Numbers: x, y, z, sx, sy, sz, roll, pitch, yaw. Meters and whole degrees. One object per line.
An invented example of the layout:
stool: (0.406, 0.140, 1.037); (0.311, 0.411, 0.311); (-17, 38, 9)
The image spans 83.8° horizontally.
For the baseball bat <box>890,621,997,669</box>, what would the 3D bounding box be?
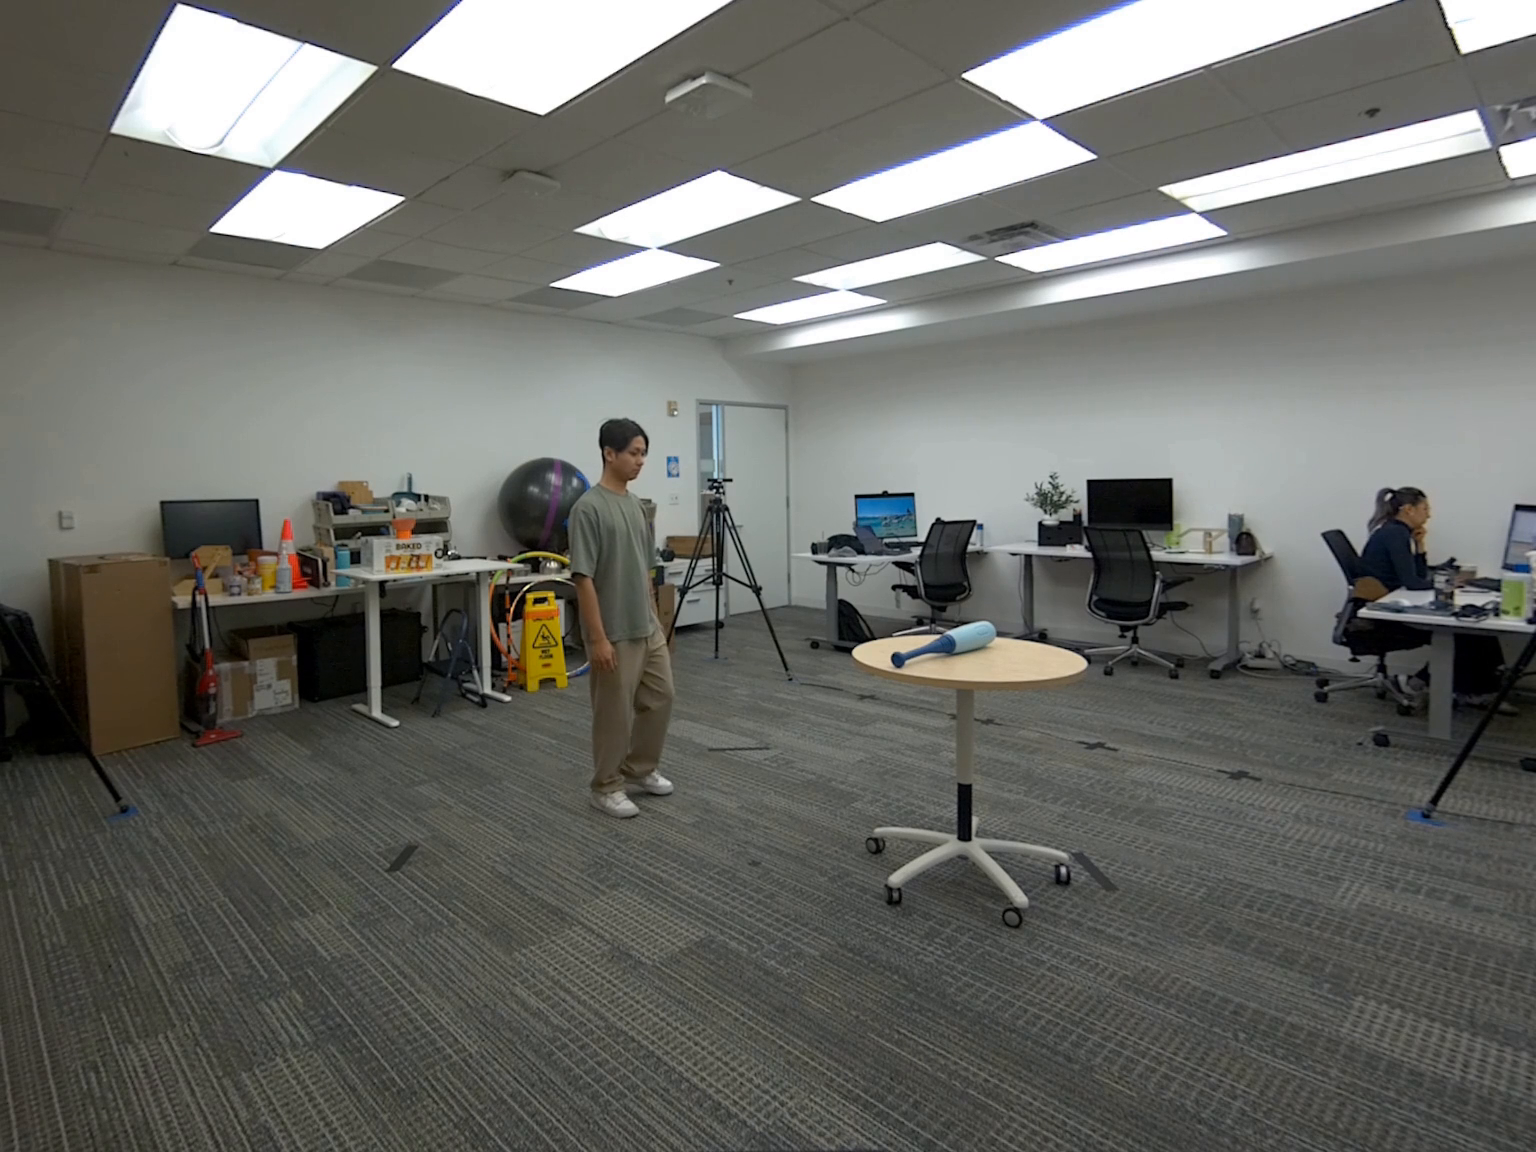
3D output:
baseball bat: (0.599, 0.235, 2.900); (0.530, 0.088, 0.092); (-10, 9, -42)
